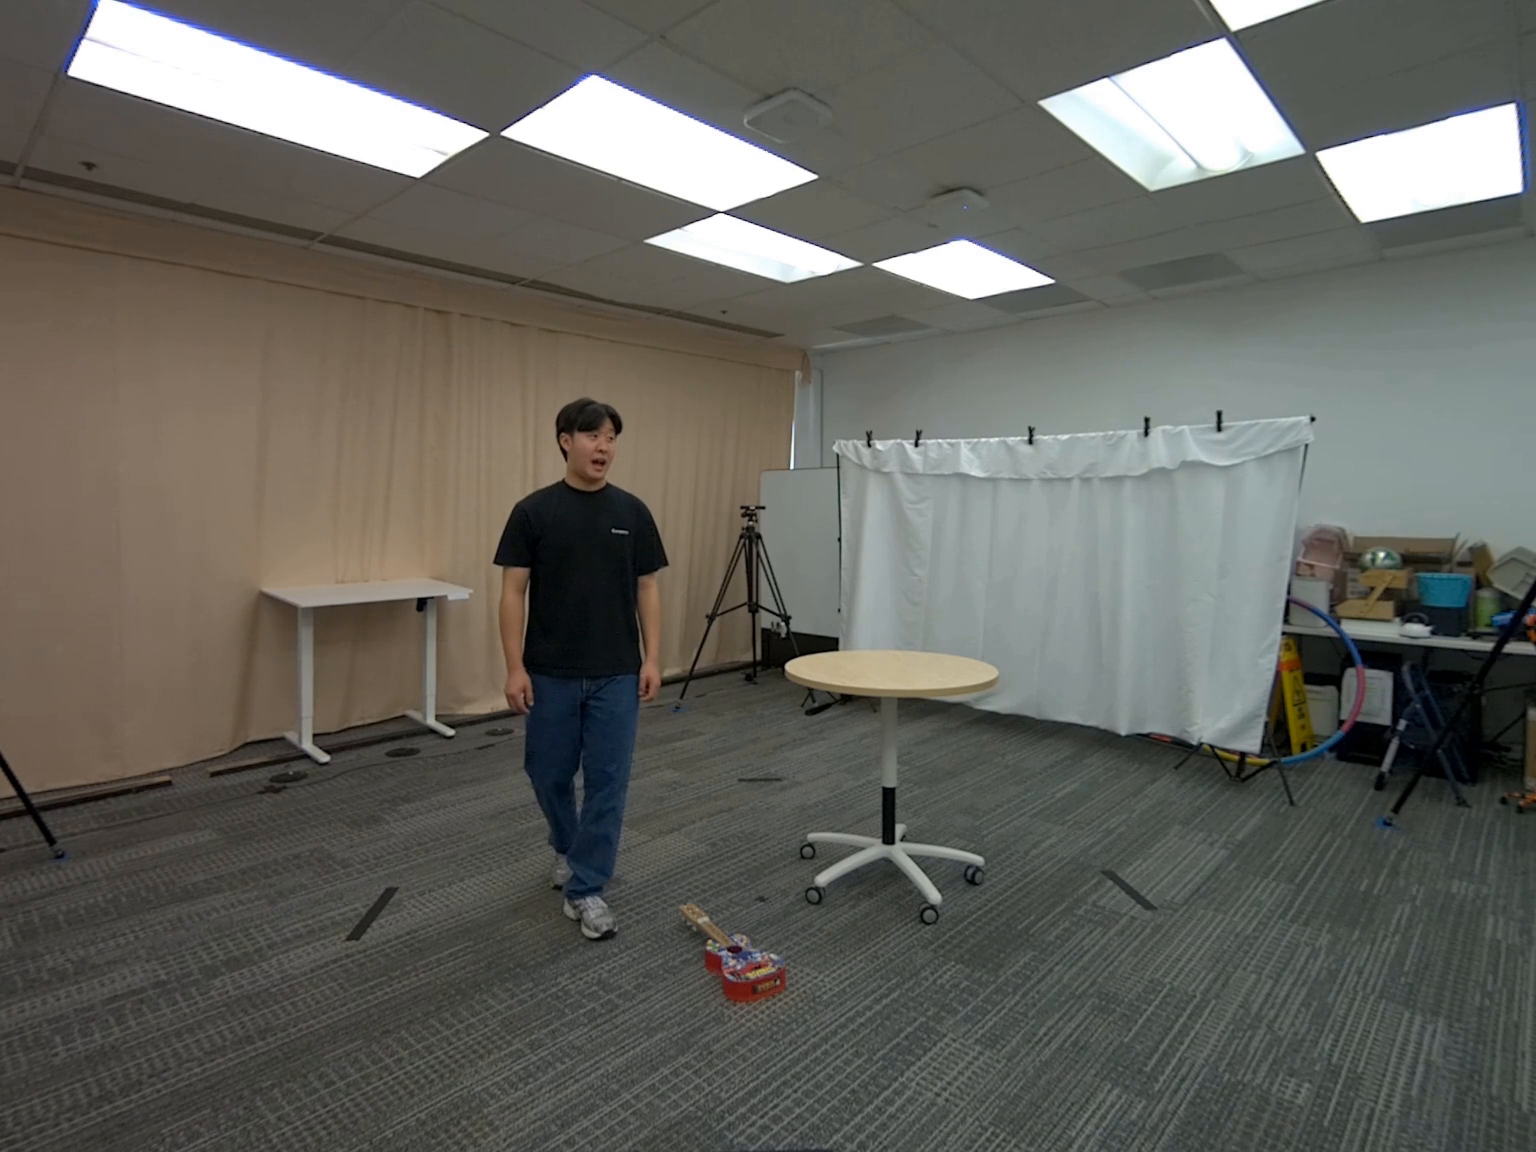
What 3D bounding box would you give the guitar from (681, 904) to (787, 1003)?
[{"bbox_3d":[-0.112,1.142,2.605,0.189,0.070,0.510,-3,6,-23],"label":"guitar"}]
